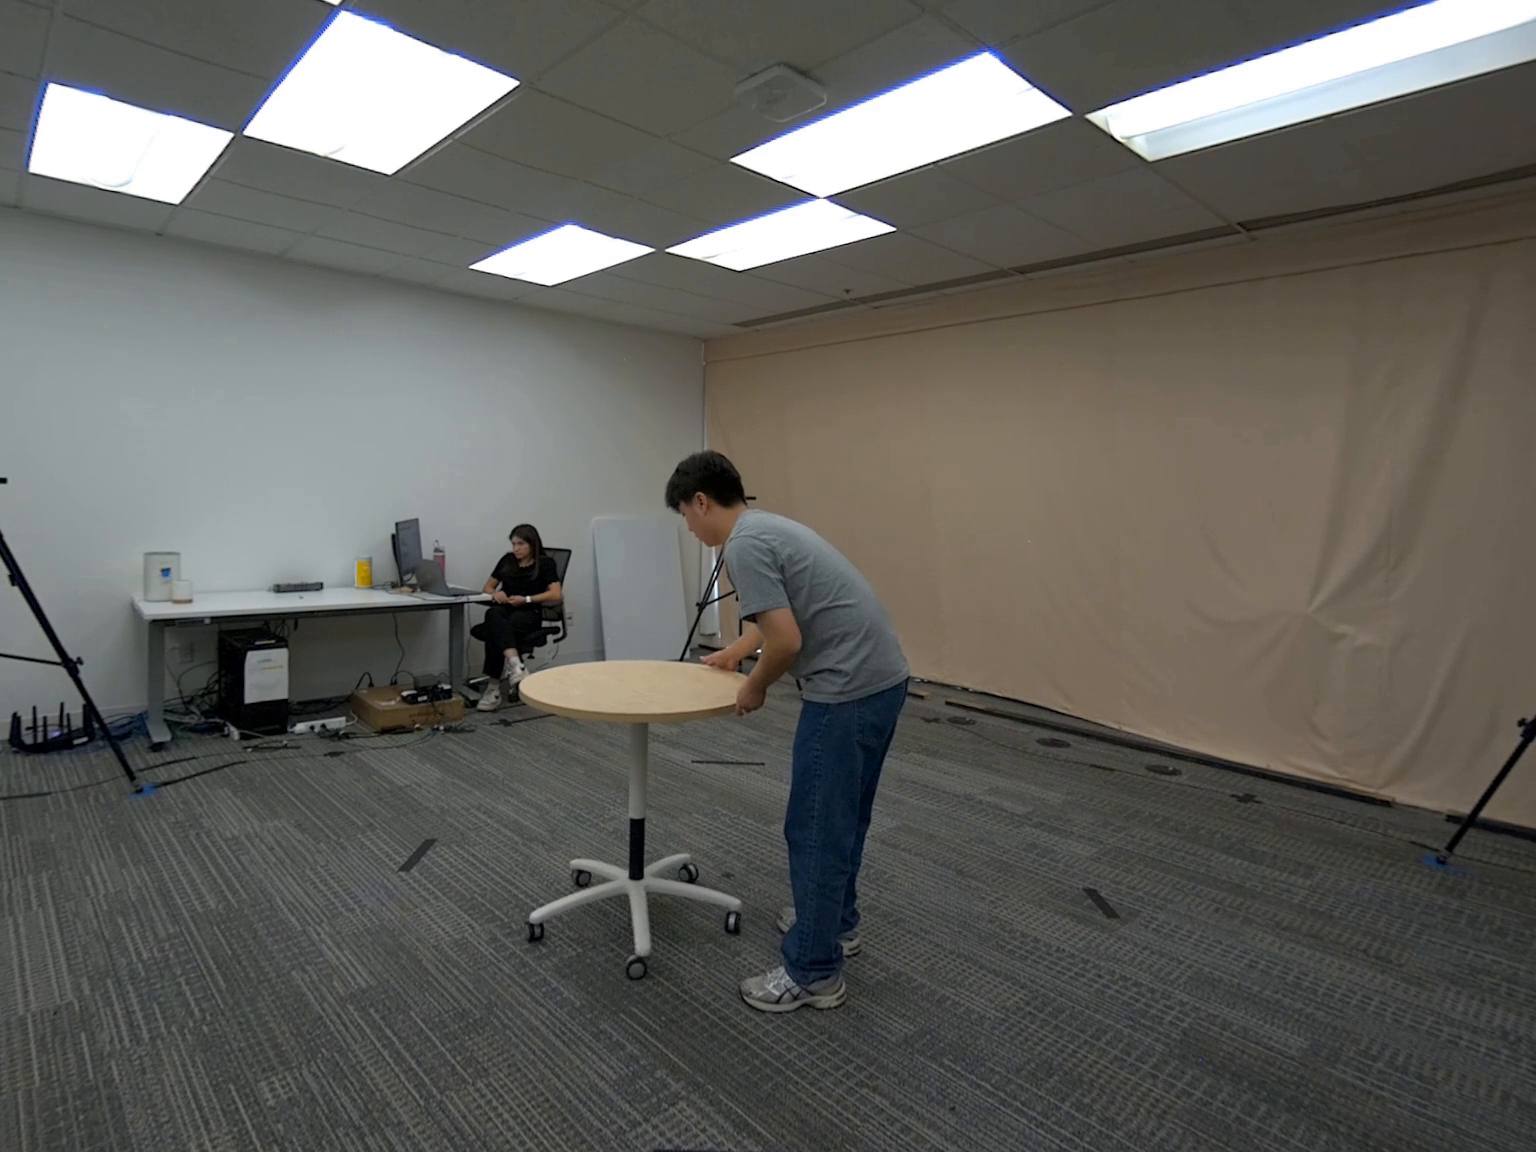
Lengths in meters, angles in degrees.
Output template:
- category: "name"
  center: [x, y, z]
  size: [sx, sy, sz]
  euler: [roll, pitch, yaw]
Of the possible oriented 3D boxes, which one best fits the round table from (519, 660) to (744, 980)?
- category: "round table"
  center: [-0.429, 0.743, 2.741]
  size: [0.763, 0.792, 0.767]
  euler: [1, 4, -1]
